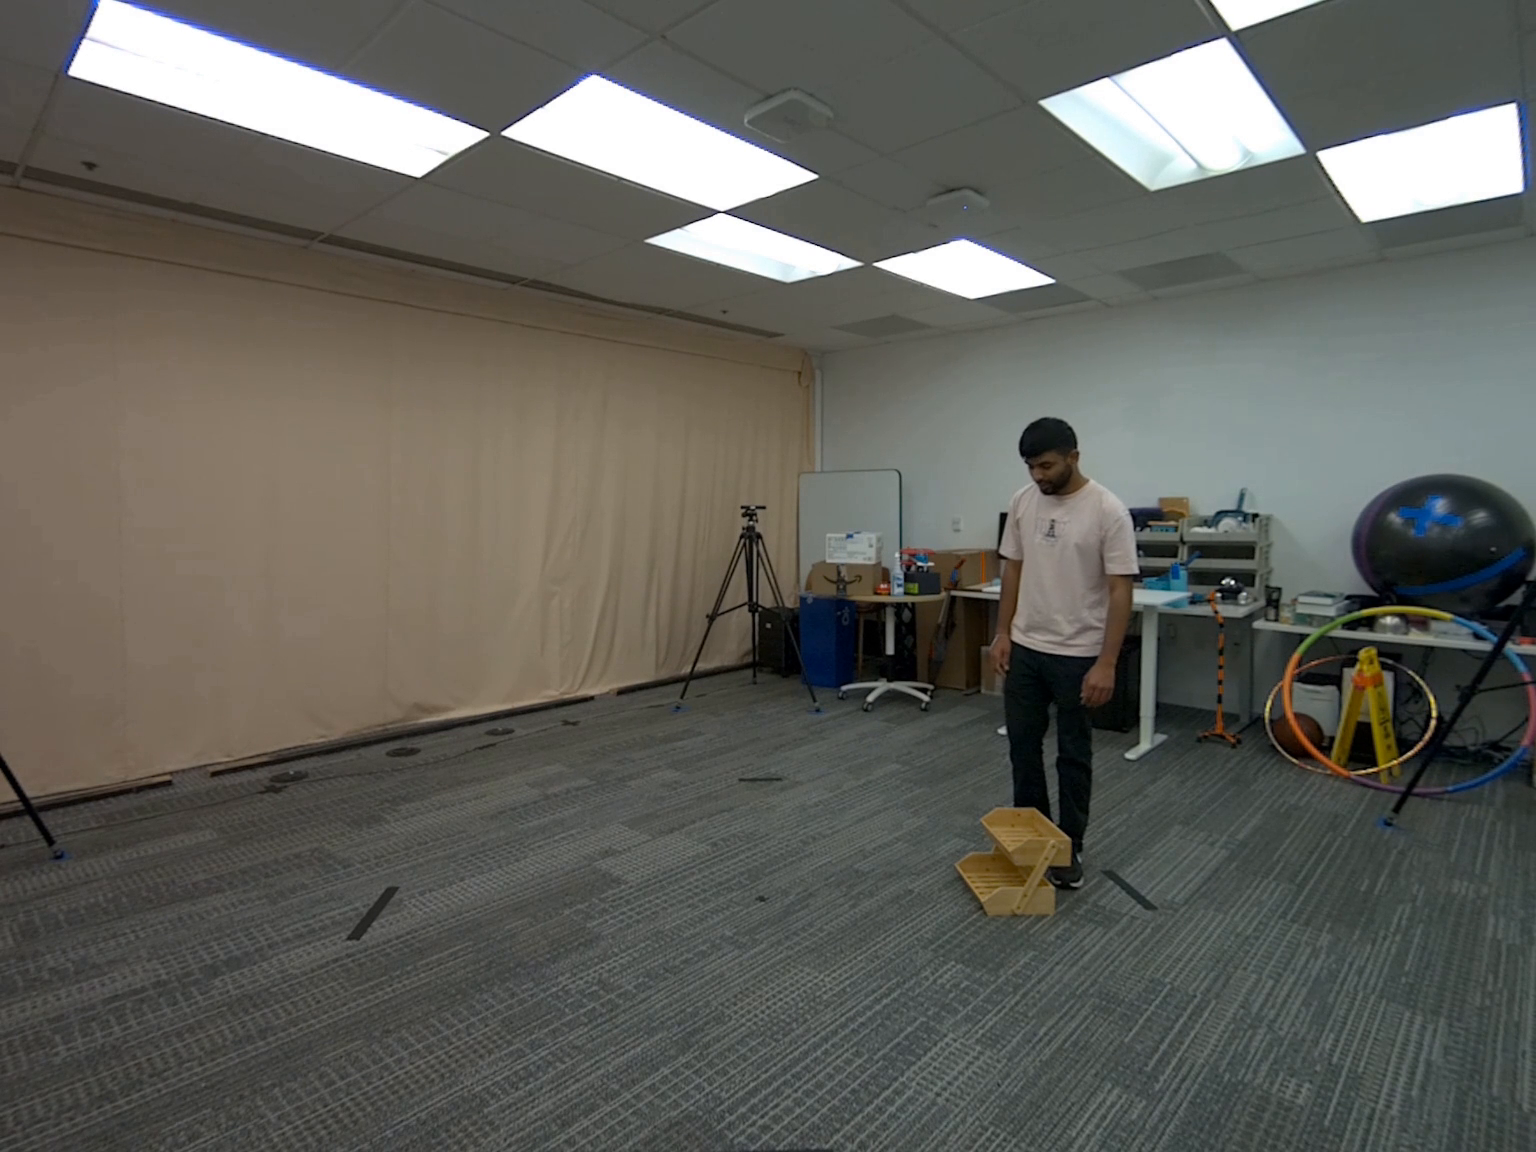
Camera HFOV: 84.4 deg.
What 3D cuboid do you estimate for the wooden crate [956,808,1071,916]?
[{"bbox_3d":[0.864,1.007,3.003,0.301,0.273,0.326,1,4,-5],"label":"wooden crate"}]
